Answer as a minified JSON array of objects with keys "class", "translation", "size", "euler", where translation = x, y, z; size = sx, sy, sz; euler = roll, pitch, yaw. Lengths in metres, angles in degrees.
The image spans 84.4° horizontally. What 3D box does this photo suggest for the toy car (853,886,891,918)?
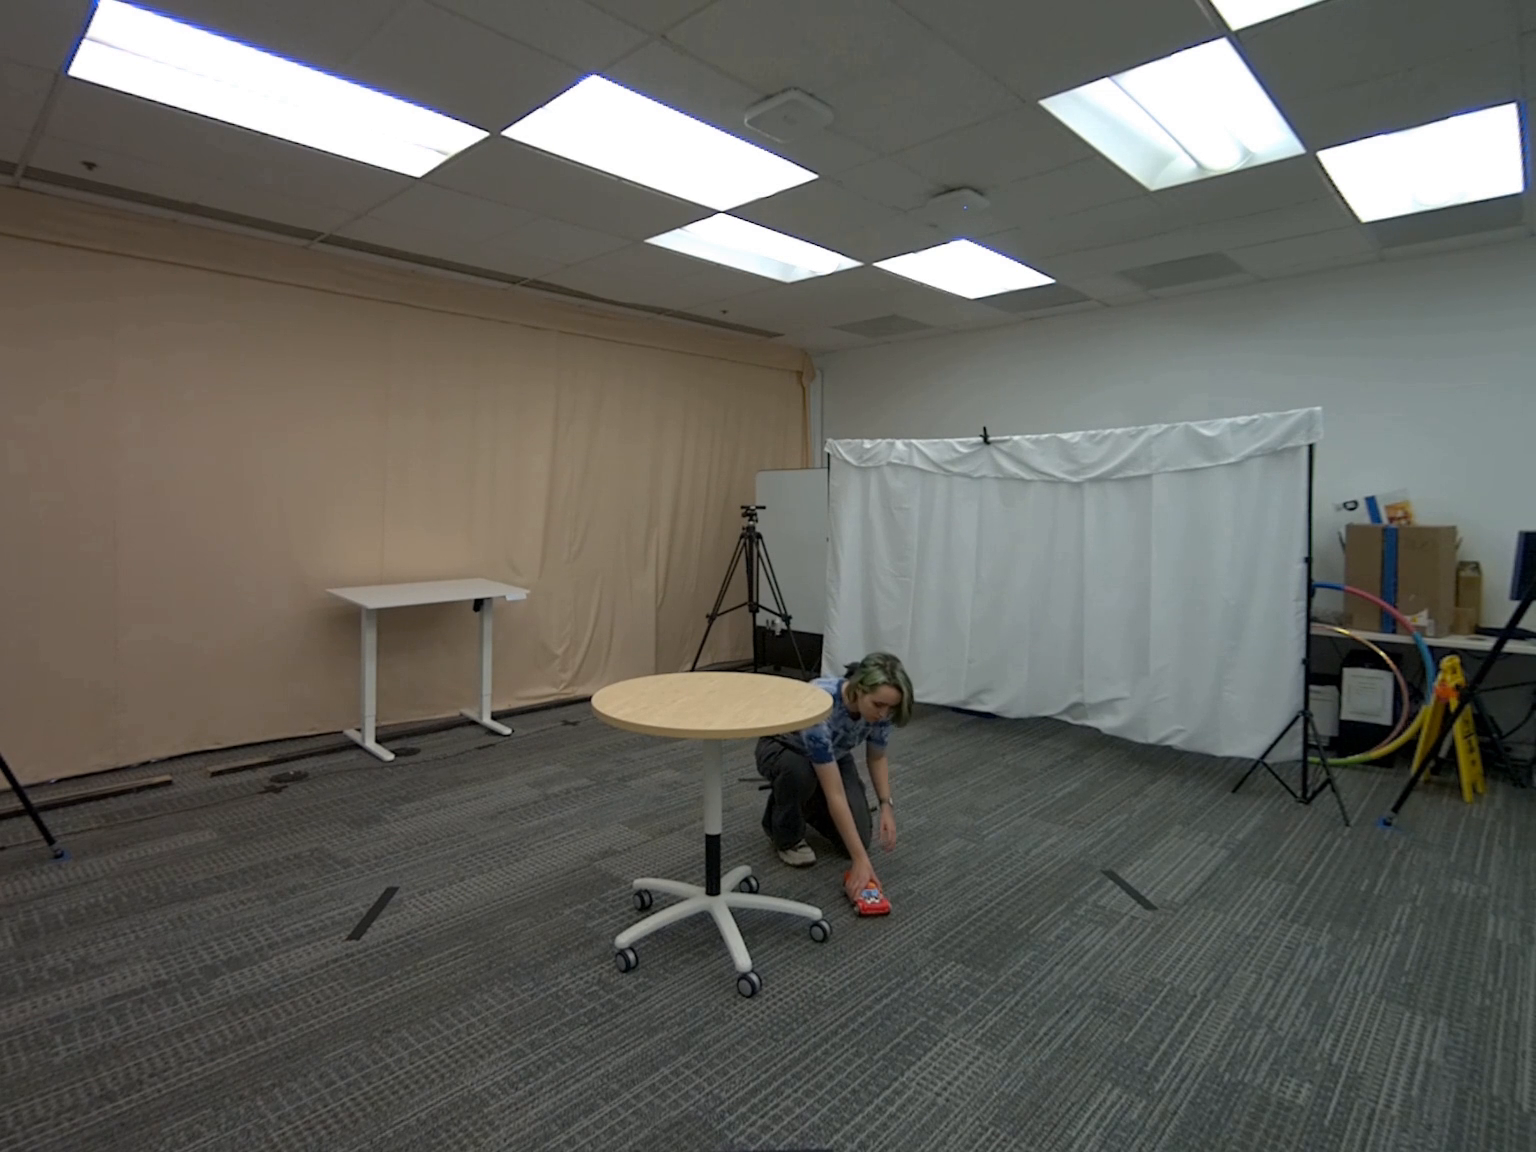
[{"class":"toy car","translation":[0.340,1.110,2.955],"size":[0.129,0.082,0.259],"euler":[-2,16,-10]}]
